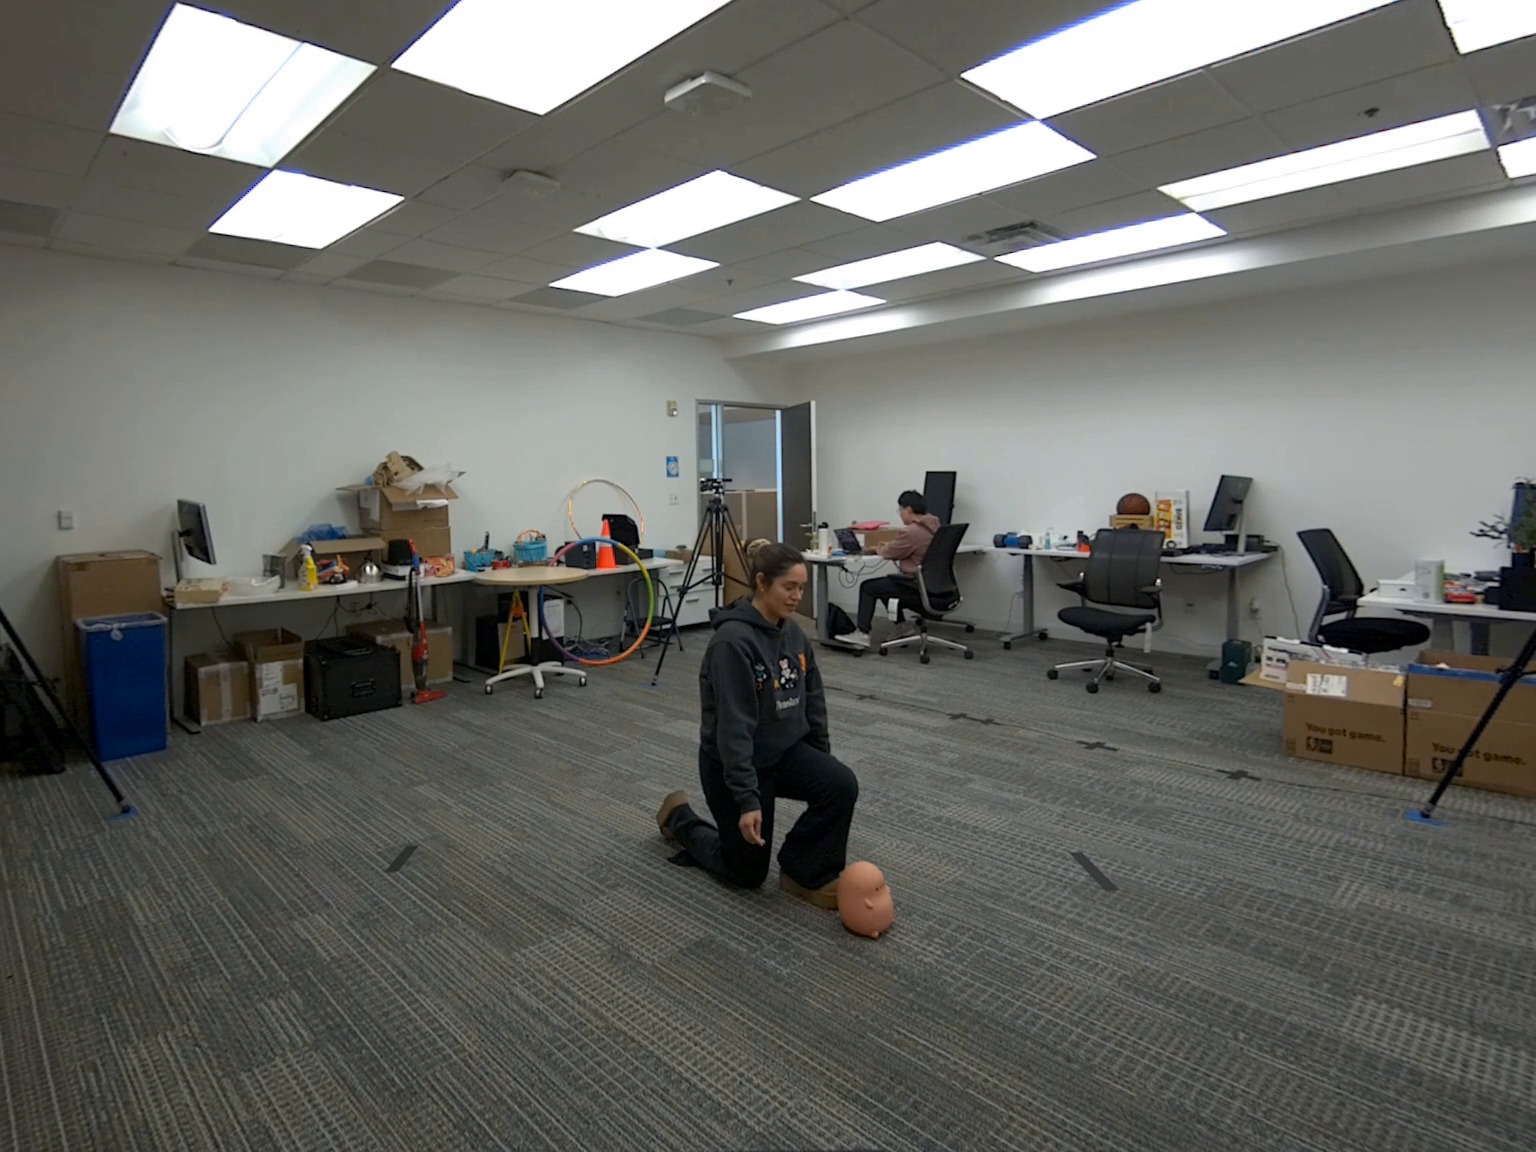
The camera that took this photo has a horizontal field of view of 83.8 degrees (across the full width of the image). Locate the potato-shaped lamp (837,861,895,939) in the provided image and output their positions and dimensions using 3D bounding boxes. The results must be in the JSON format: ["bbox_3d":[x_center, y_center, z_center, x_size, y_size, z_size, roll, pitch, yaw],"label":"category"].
[{"bbox_3d":[0.301,0.989,2.640,0.176,0.198,0.160,-1,3,38],"label":"potato-shaped lamp"}]
